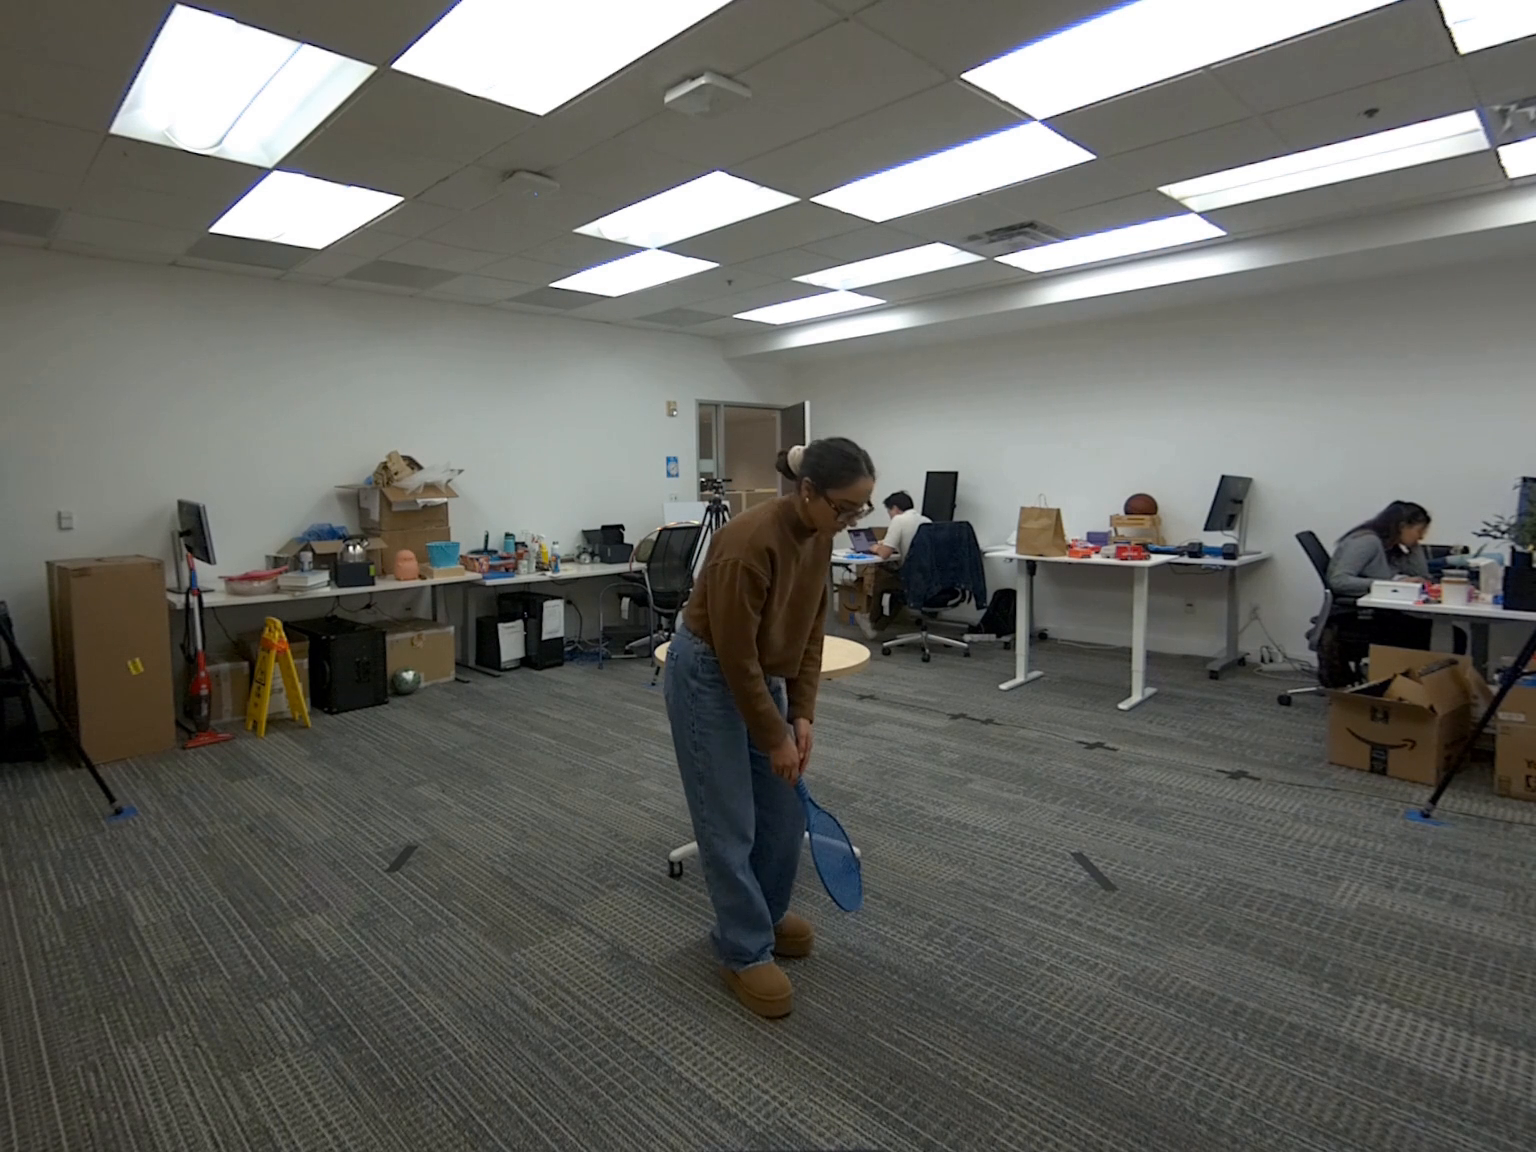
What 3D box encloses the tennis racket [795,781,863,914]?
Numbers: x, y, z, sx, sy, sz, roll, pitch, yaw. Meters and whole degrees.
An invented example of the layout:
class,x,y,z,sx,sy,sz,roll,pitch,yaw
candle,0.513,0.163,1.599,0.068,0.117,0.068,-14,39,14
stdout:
class,x,y,z,sx,sy,sz,roll,pitch,yaw
tennis racket,0.150,0.663,2.241,0.032,0.431,0.212,-26,3,28
